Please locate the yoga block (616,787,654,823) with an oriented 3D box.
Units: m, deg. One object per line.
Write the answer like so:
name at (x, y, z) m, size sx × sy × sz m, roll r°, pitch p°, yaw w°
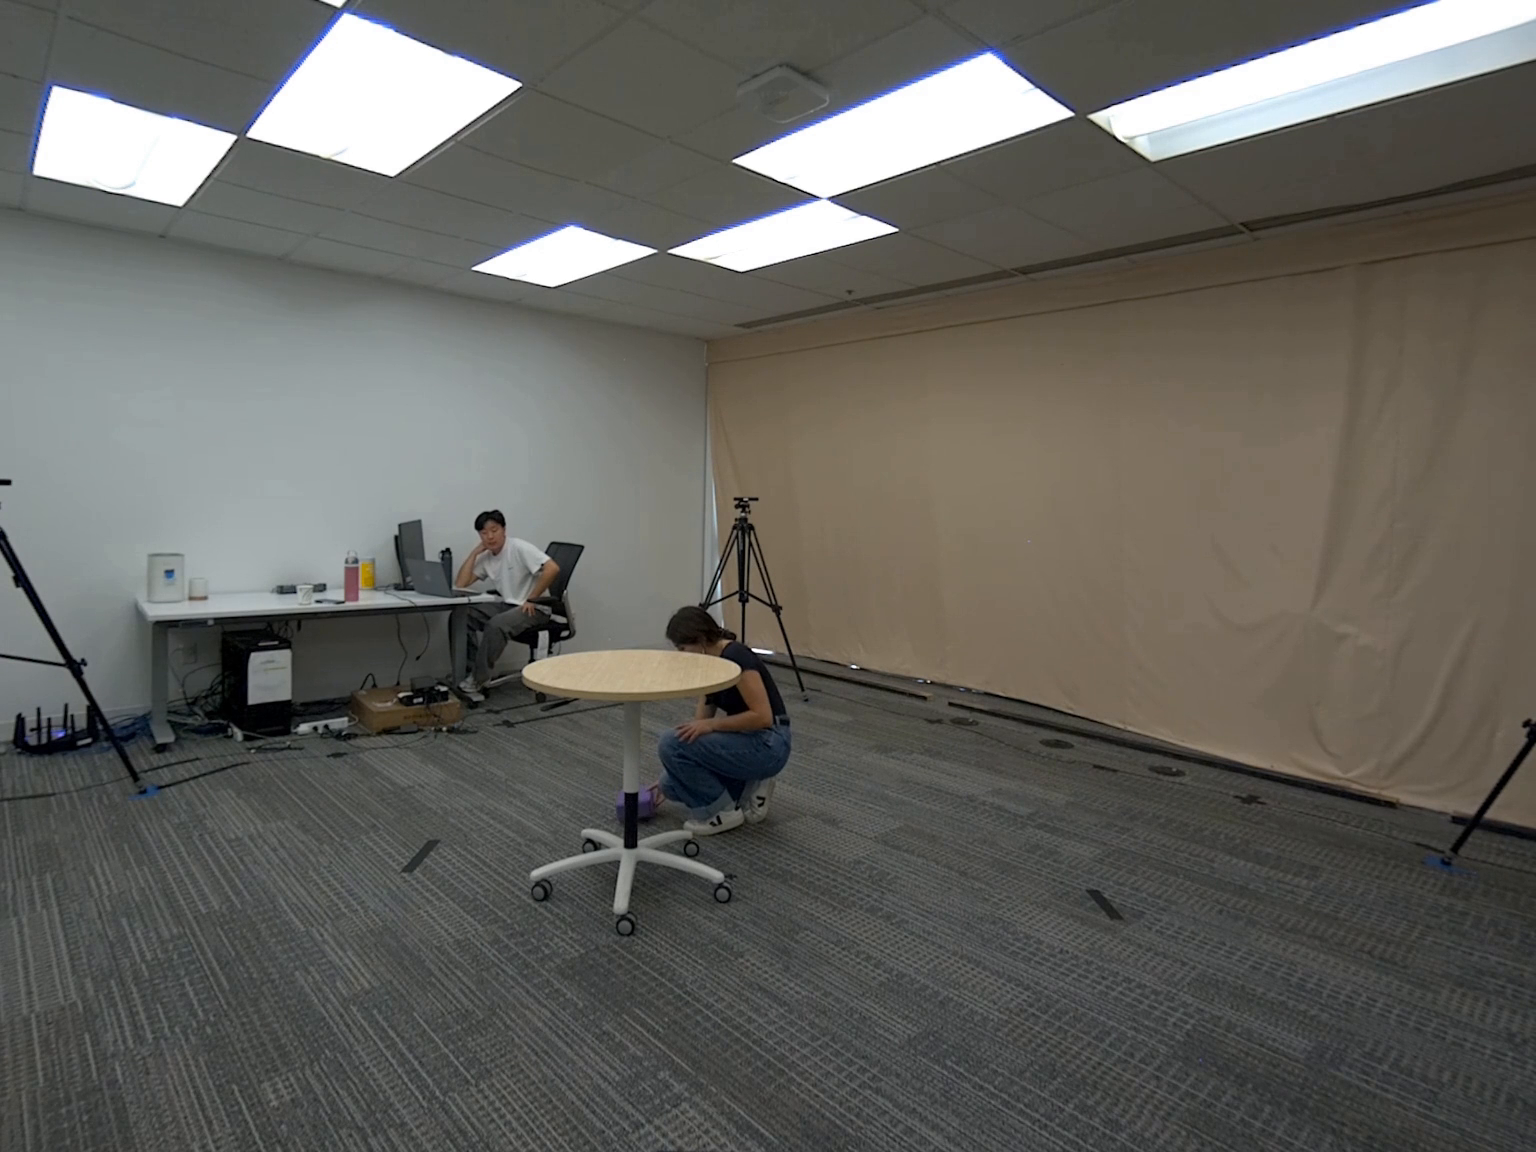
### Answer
yoga block at (-0.575, 0.984, 3.677) m, size 0.149 × 0.076 × 0.230 m, roll -8°, pitch 3°, yaw -2°
